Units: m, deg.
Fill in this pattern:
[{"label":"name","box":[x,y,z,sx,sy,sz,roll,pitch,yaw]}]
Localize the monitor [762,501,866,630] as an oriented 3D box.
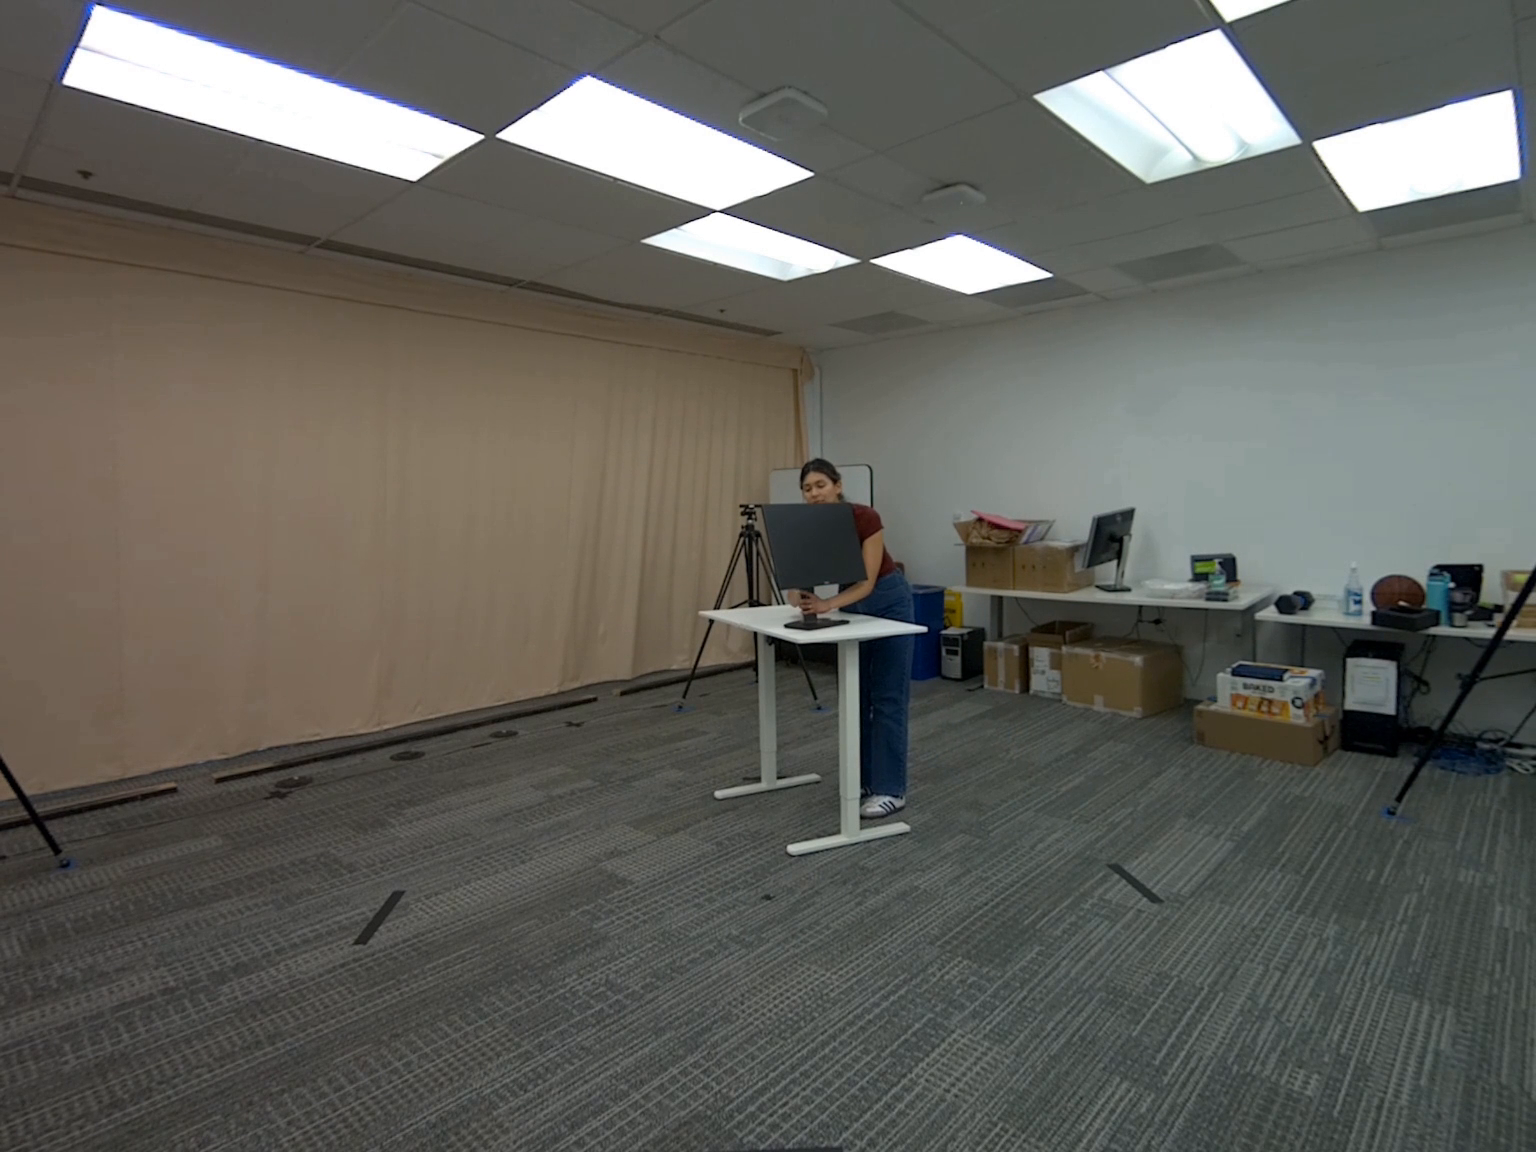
[{"label":"monitor","box":[0.193,-0.042,3.533,0.523,0.522,0.193,-4,2,-43]}]
